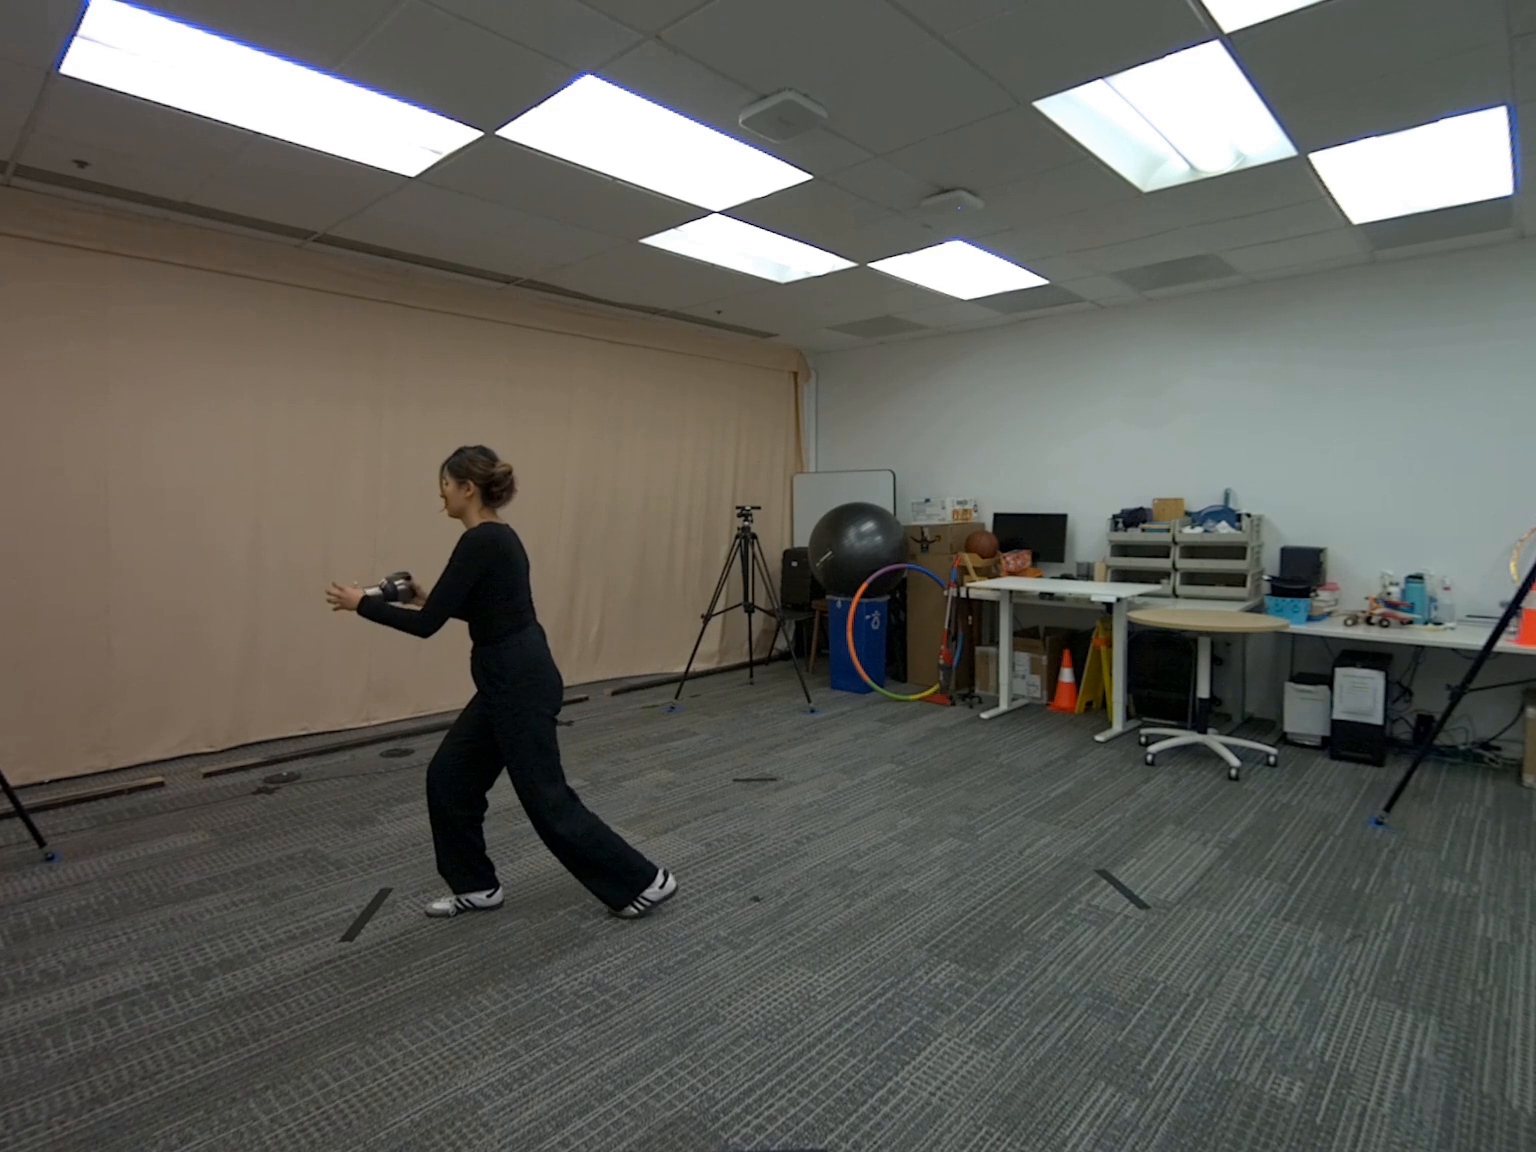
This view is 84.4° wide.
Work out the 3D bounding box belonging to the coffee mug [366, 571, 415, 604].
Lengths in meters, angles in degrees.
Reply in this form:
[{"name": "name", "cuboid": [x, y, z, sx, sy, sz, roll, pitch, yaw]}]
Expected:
[{"name": "coffee mug", "cuboid": [-1.358, 0.064, 3.032, 0.091, 0.121, 0.197, 10, 13, 40]}]
